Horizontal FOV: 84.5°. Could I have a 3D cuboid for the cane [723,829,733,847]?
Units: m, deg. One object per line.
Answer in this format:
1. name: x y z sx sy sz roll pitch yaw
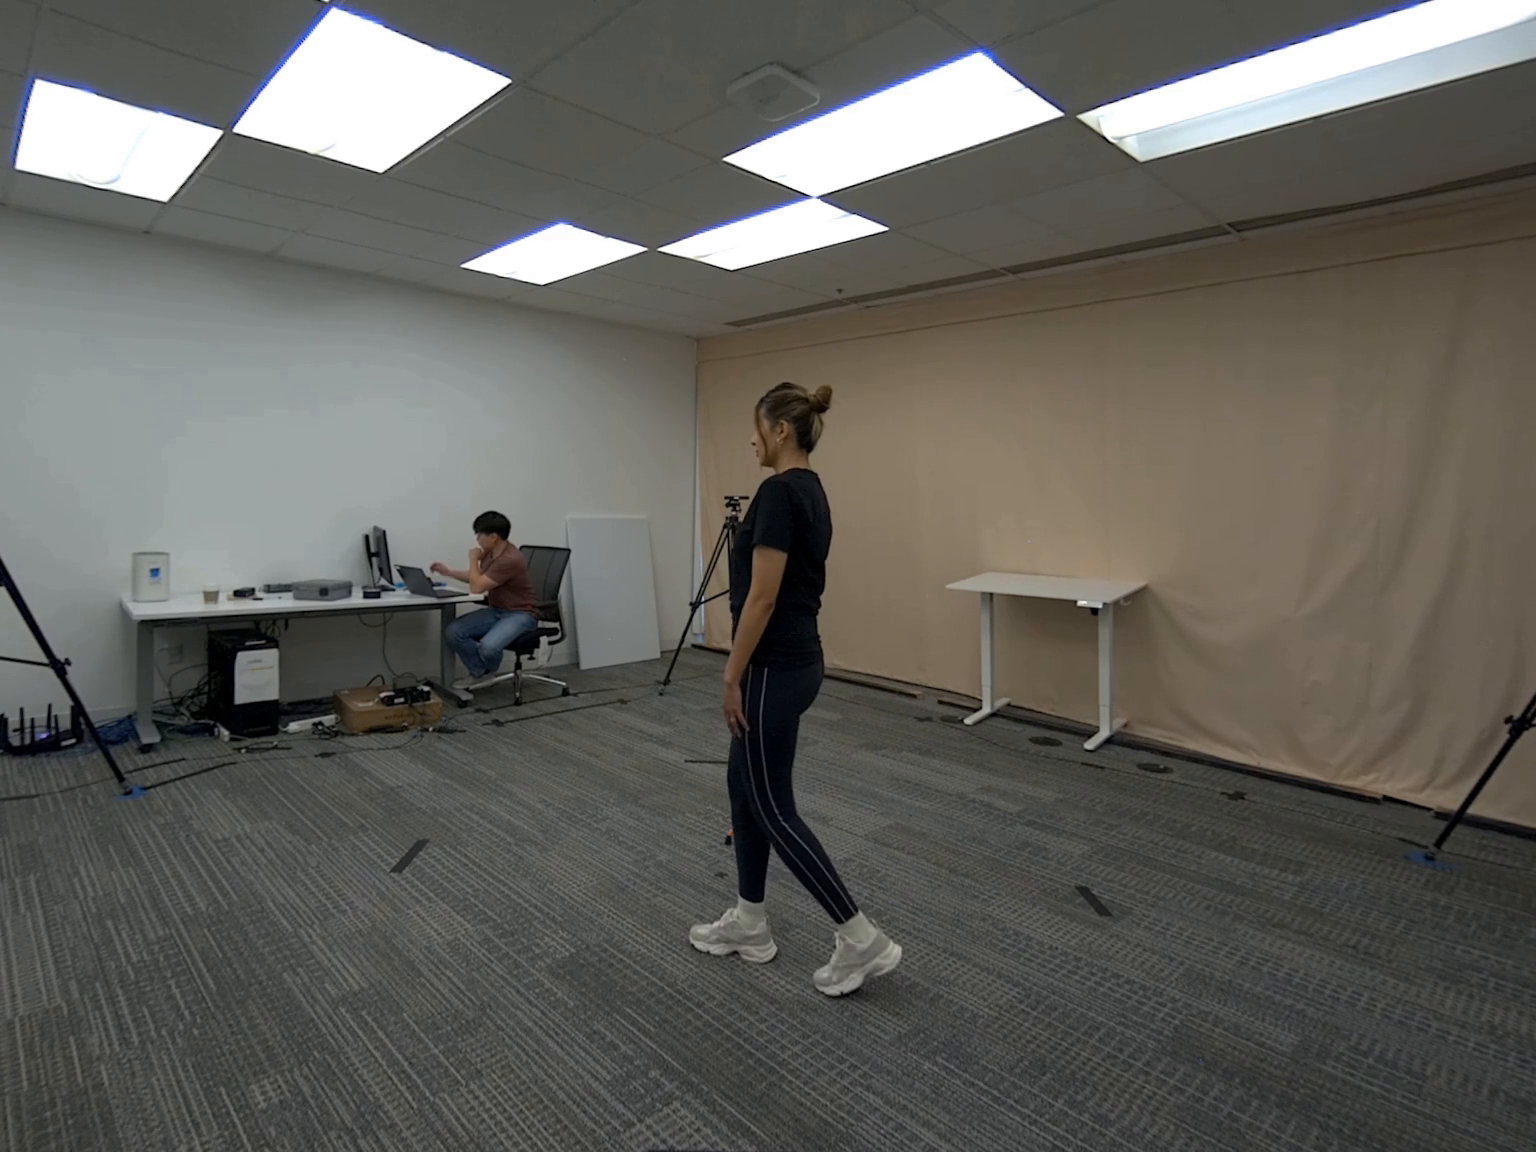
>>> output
1. cane: -0.056 0.627 3.418 0.154 0.906 0.203 3 2 24
